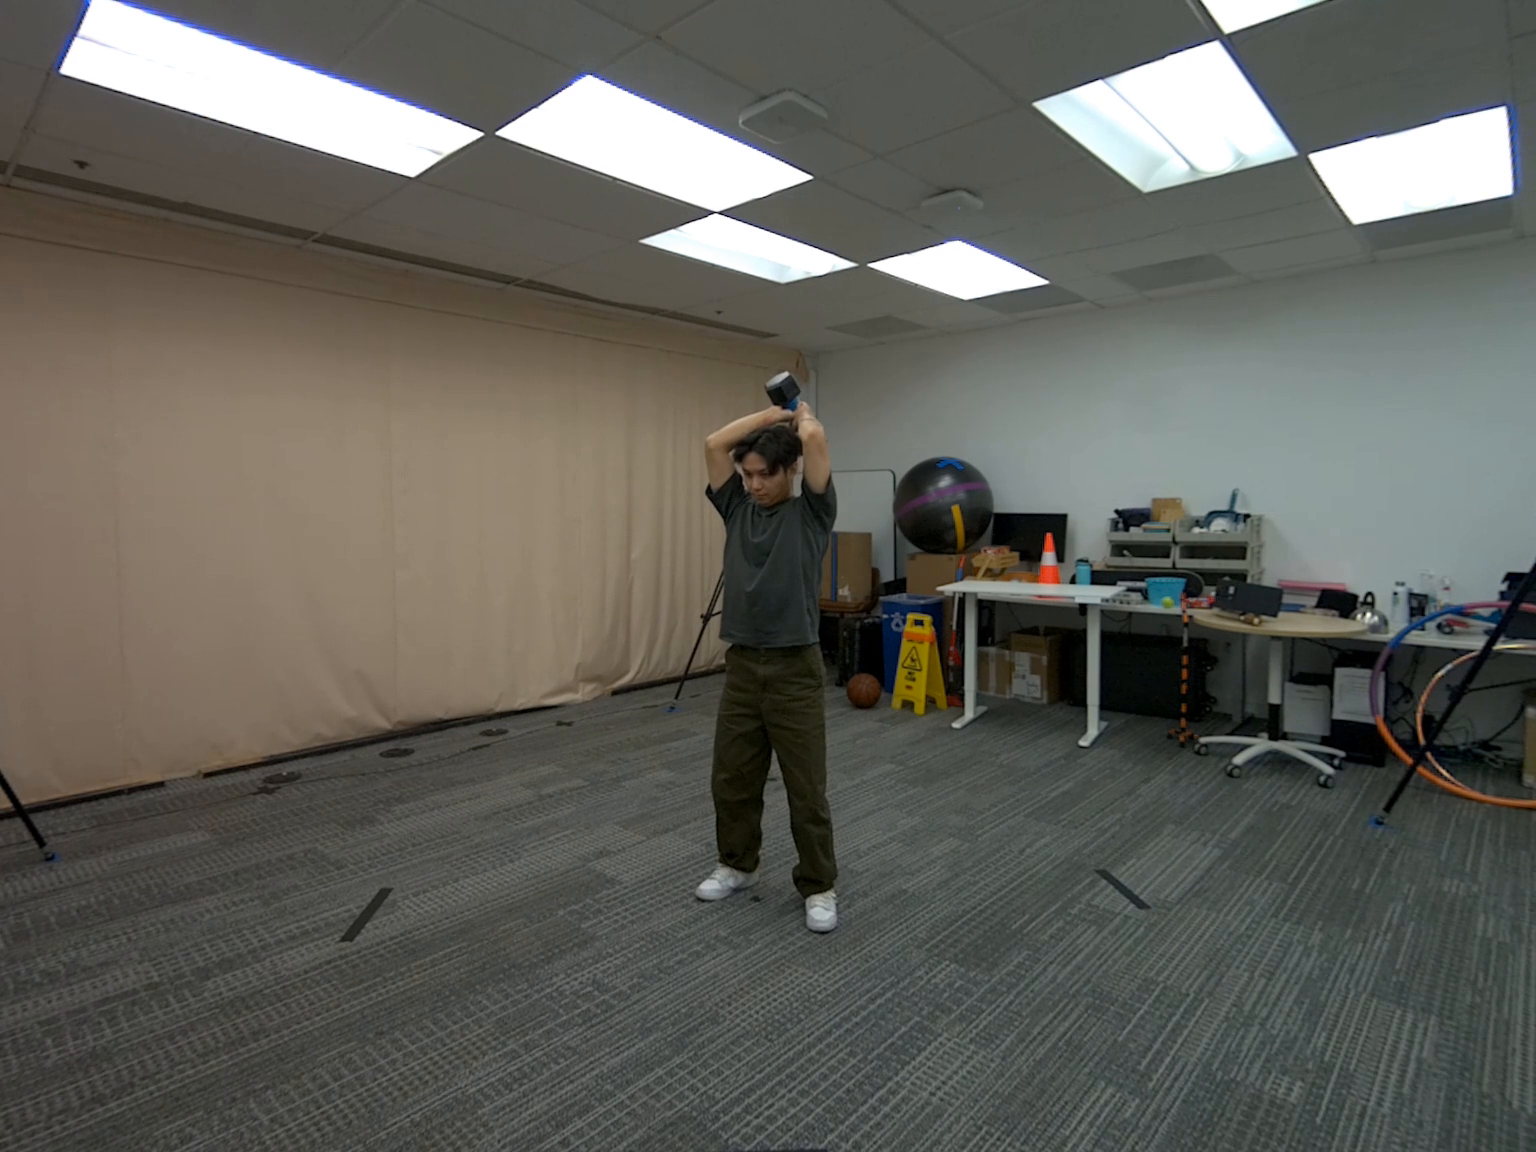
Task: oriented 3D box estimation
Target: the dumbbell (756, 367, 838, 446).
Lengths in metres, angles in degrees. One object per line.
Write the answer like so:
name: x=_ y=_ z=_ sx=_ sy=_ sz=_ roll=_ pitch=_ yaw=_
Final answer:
dumbbell: x=0.103 y=-0.572 z=2.972 sx=0.122 sy=0.286 sz=0.112 roll=-40 pitch=25 yaw=-15
